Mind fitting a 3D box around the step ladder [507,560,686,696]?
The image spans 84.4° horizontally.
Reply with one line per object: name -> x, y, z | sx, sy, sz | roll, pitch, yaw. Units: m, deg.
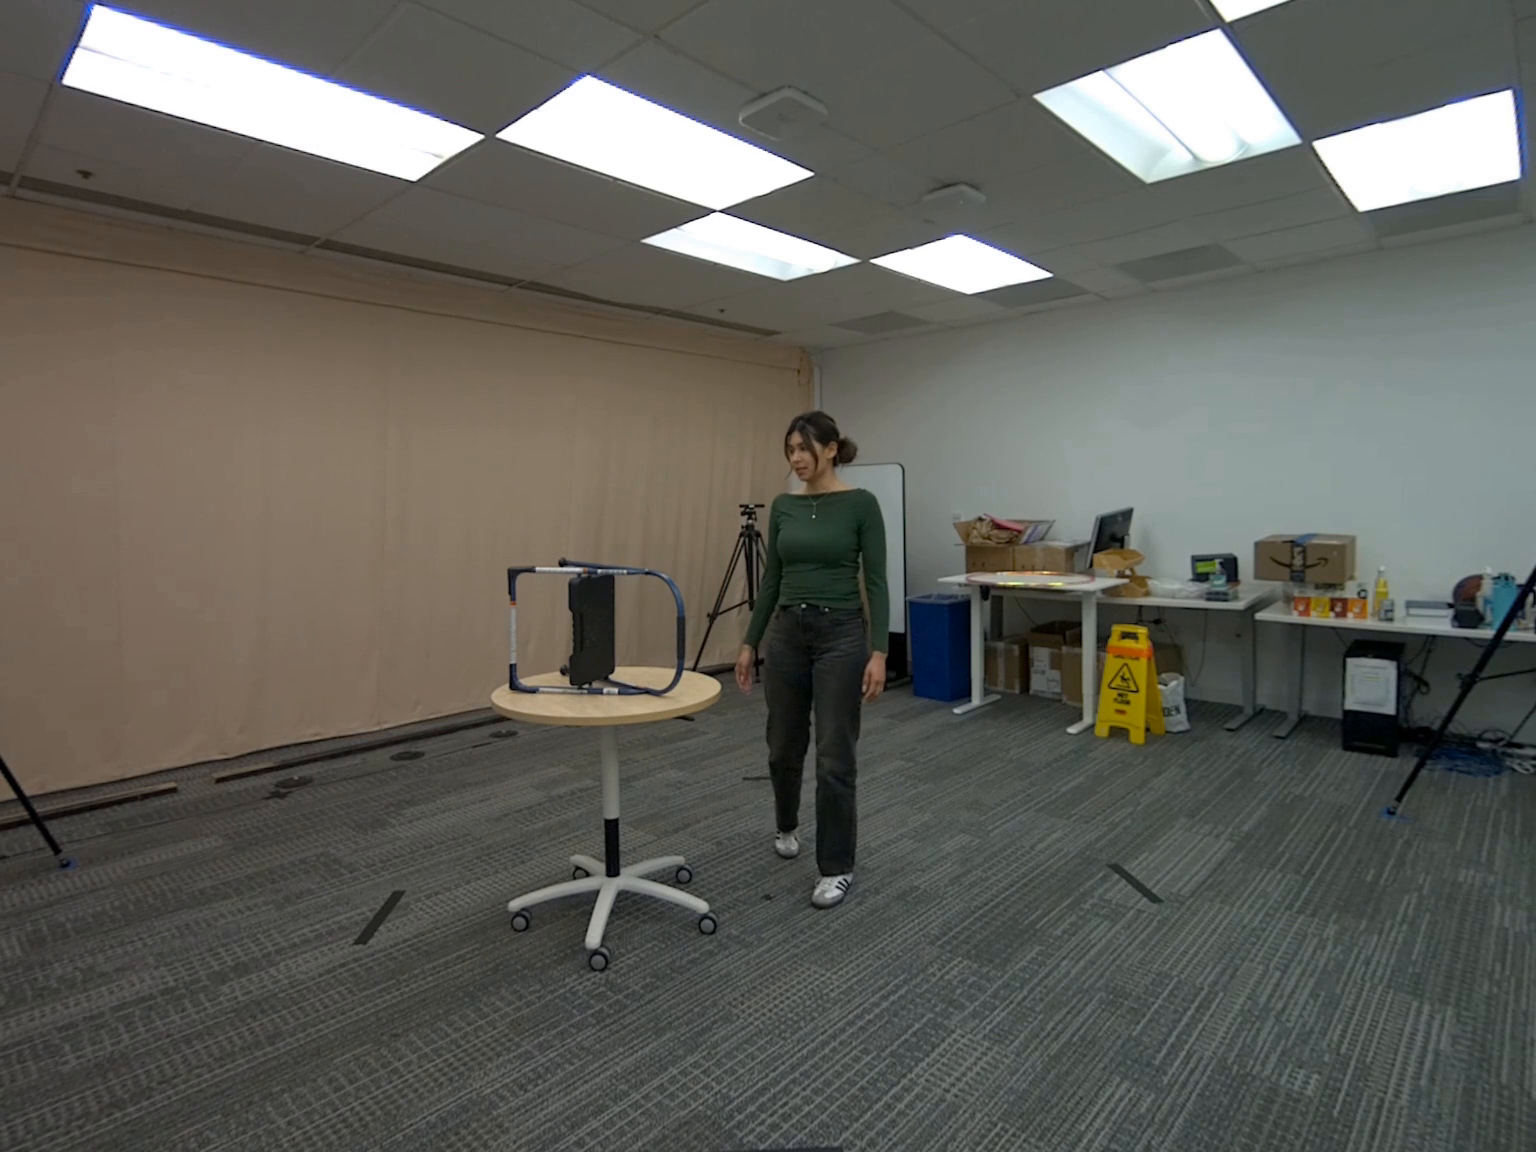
step ladder -> -0.521, 0.173, 2.819 | 0.620, 0.429, 0.342 | 2, 6, 23
